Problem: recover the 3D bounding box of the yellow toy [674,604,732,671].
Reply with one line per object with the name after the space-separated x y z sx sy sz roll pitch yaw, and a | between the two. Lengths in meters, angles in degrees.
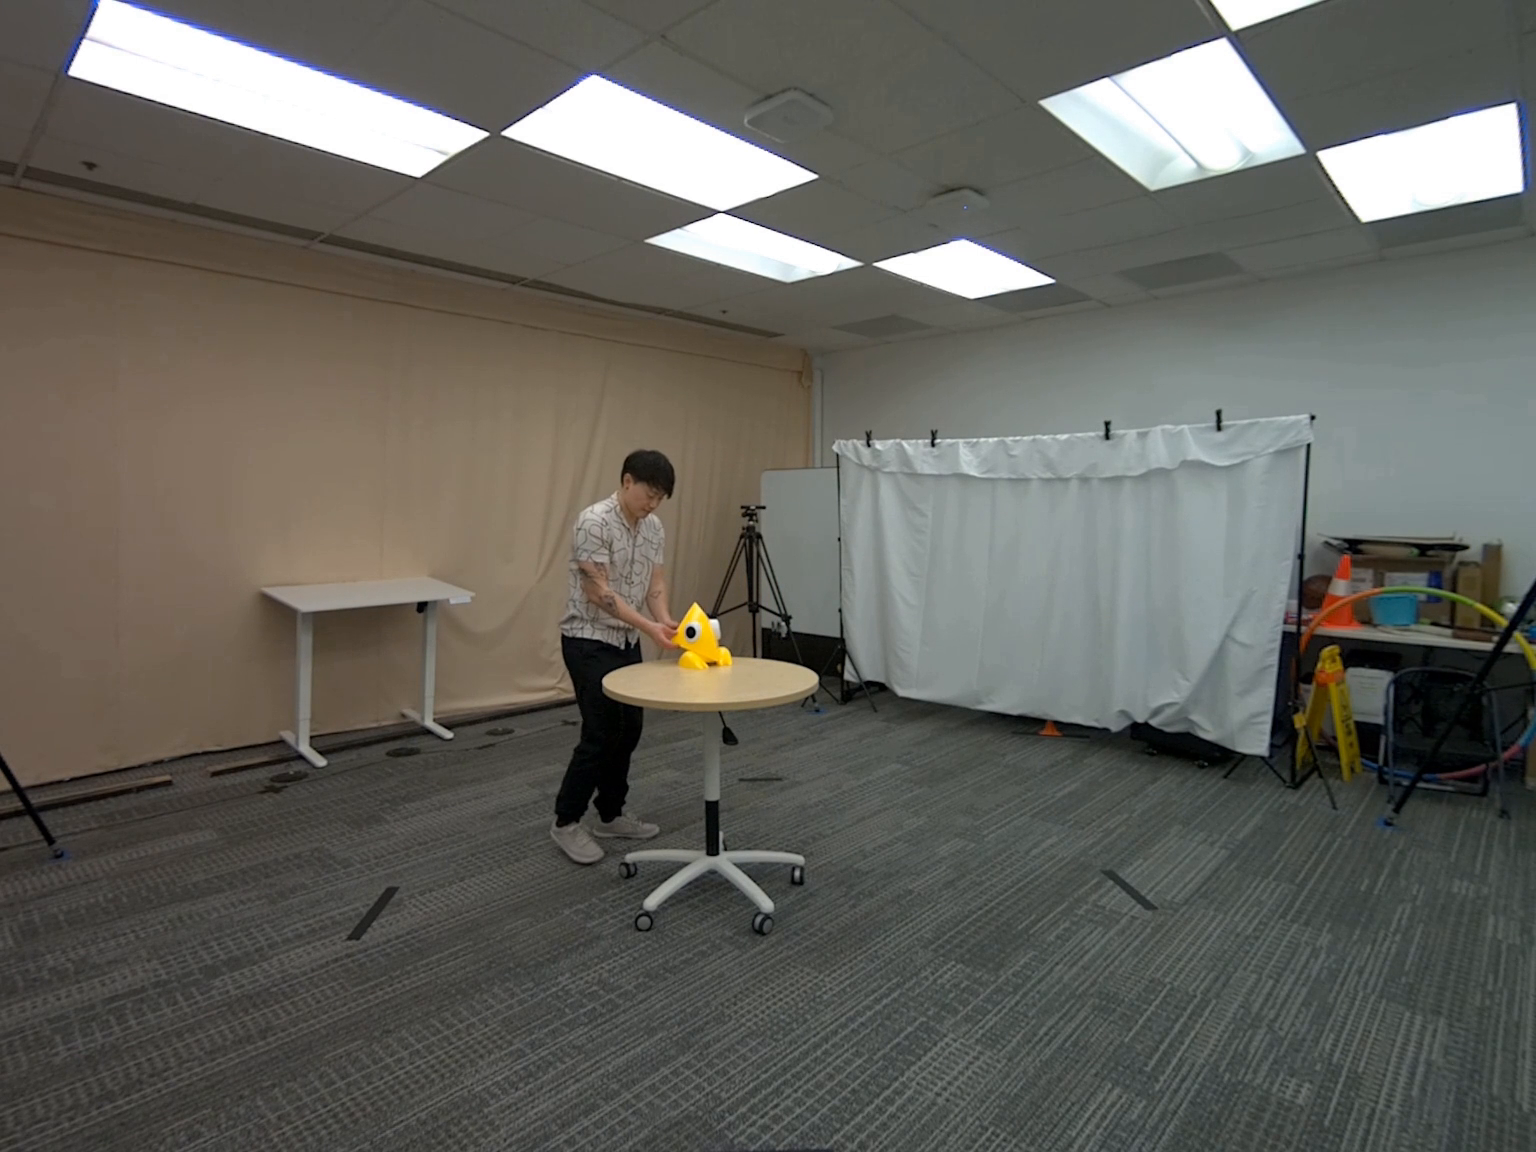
-0.240 0.227 3.239 0.199 0.230 0.199 -2 5 -34 | yellow toy
